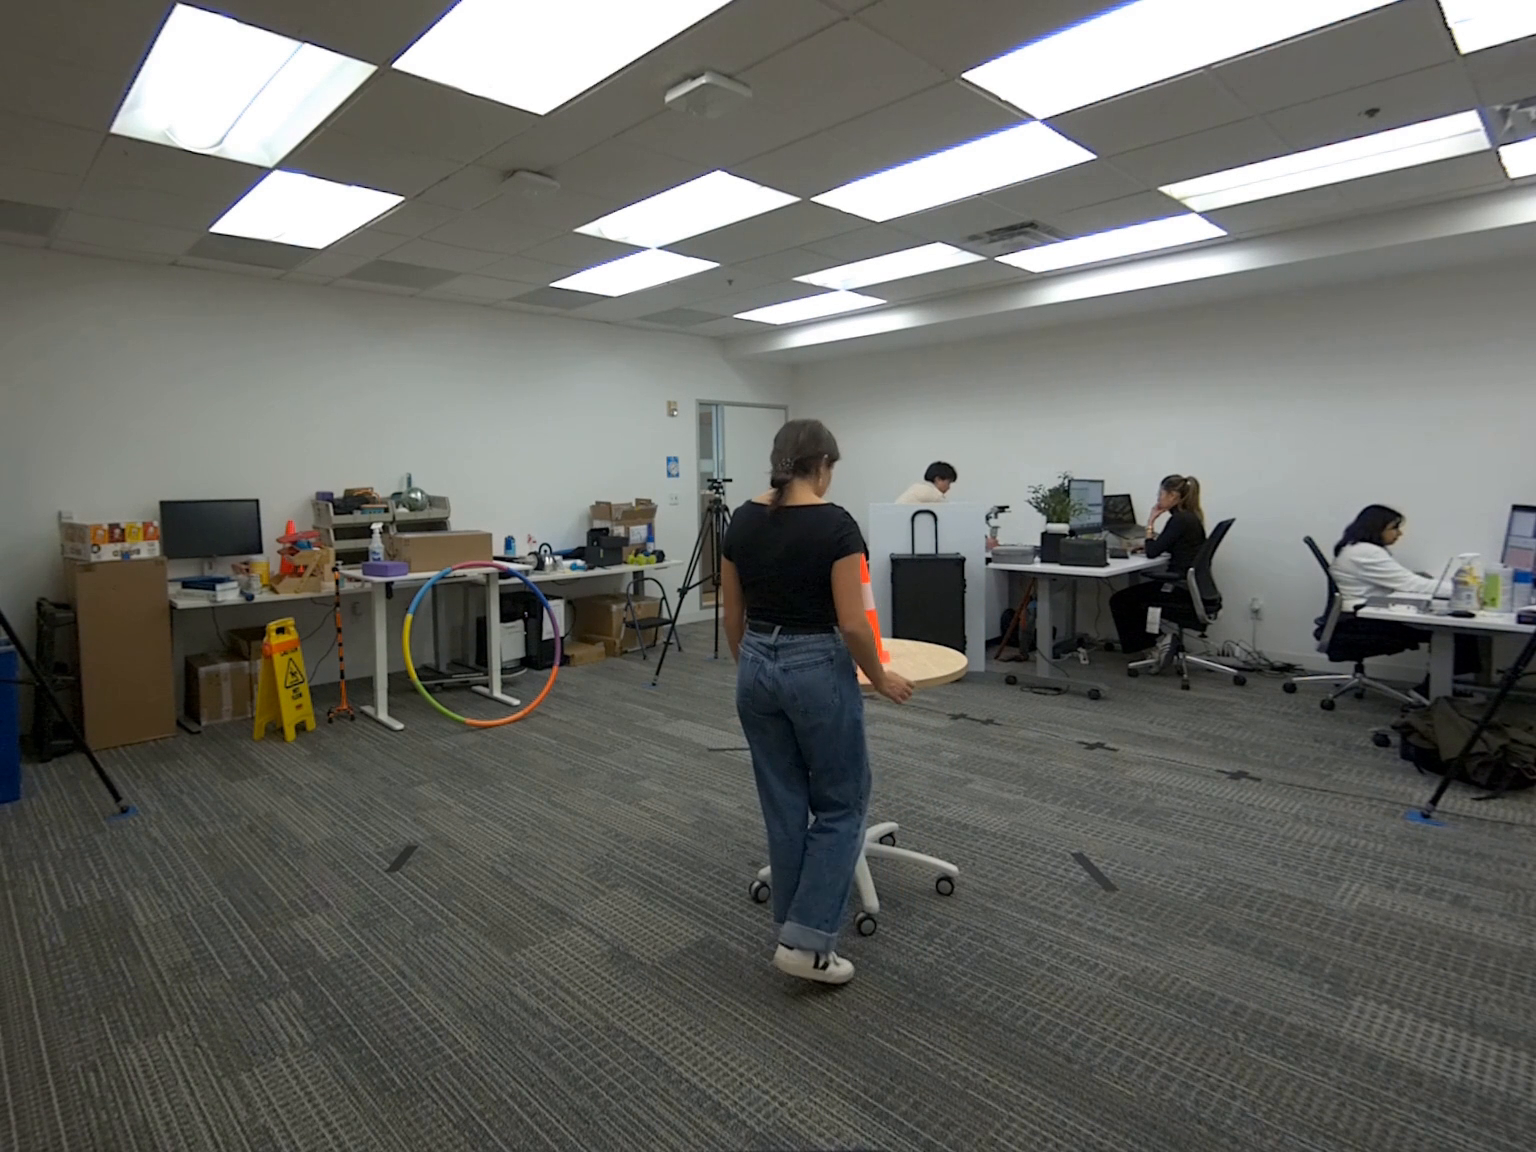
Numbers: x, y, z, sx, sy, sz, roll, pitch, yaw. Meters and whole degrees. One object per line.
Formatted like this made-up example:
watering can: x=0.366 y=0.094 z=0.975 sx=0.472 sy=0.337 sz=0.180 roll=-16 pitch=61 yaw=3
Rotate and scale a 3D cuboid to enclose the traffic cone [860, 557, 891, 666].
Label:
traffic cone: x=0.320 y=0.091 z=2.912 sx=0.204 sy=0.382 sz=0.205 roll=-1 pitch=5 yaw=5
